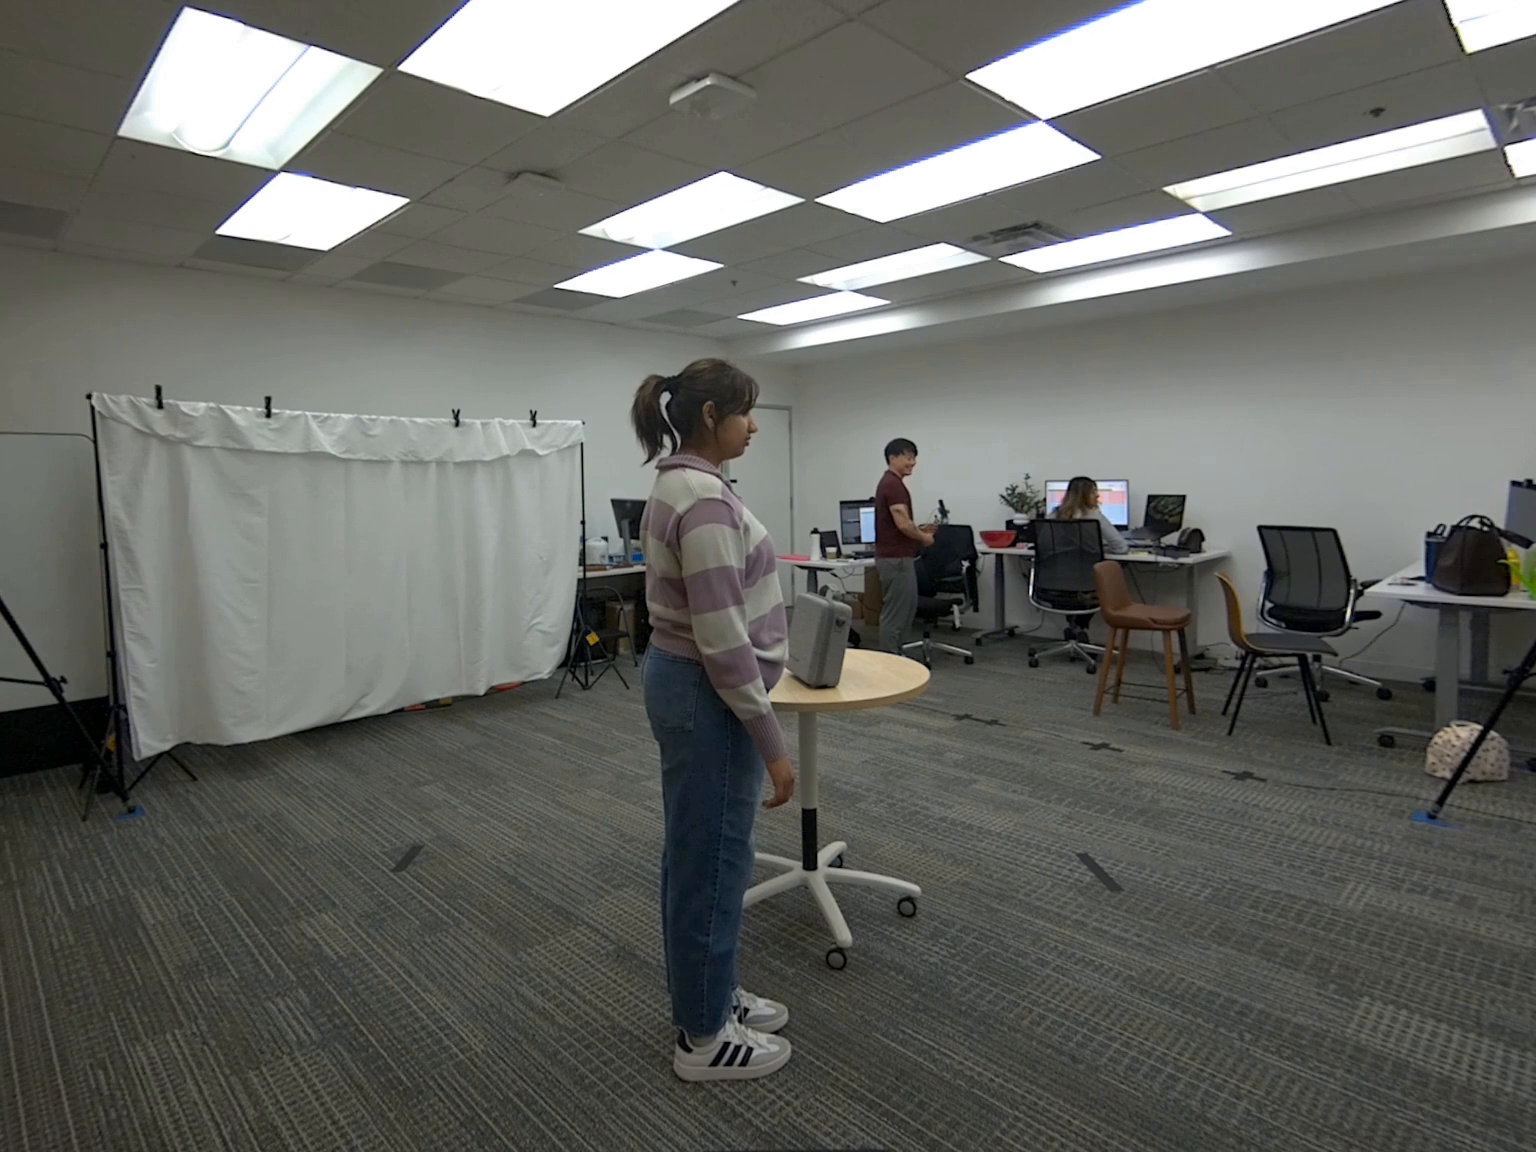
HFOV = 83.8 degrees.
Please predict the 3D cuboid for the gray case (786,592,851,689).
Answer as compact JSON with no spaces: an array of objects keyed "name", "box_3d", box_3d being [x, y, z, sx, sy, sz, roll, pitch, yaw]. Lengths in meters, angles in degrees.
[{"name":"gray case","box_3d":[0.151,0.190,2.591,0.103,0.260,0.261,7,3,-16]}]
